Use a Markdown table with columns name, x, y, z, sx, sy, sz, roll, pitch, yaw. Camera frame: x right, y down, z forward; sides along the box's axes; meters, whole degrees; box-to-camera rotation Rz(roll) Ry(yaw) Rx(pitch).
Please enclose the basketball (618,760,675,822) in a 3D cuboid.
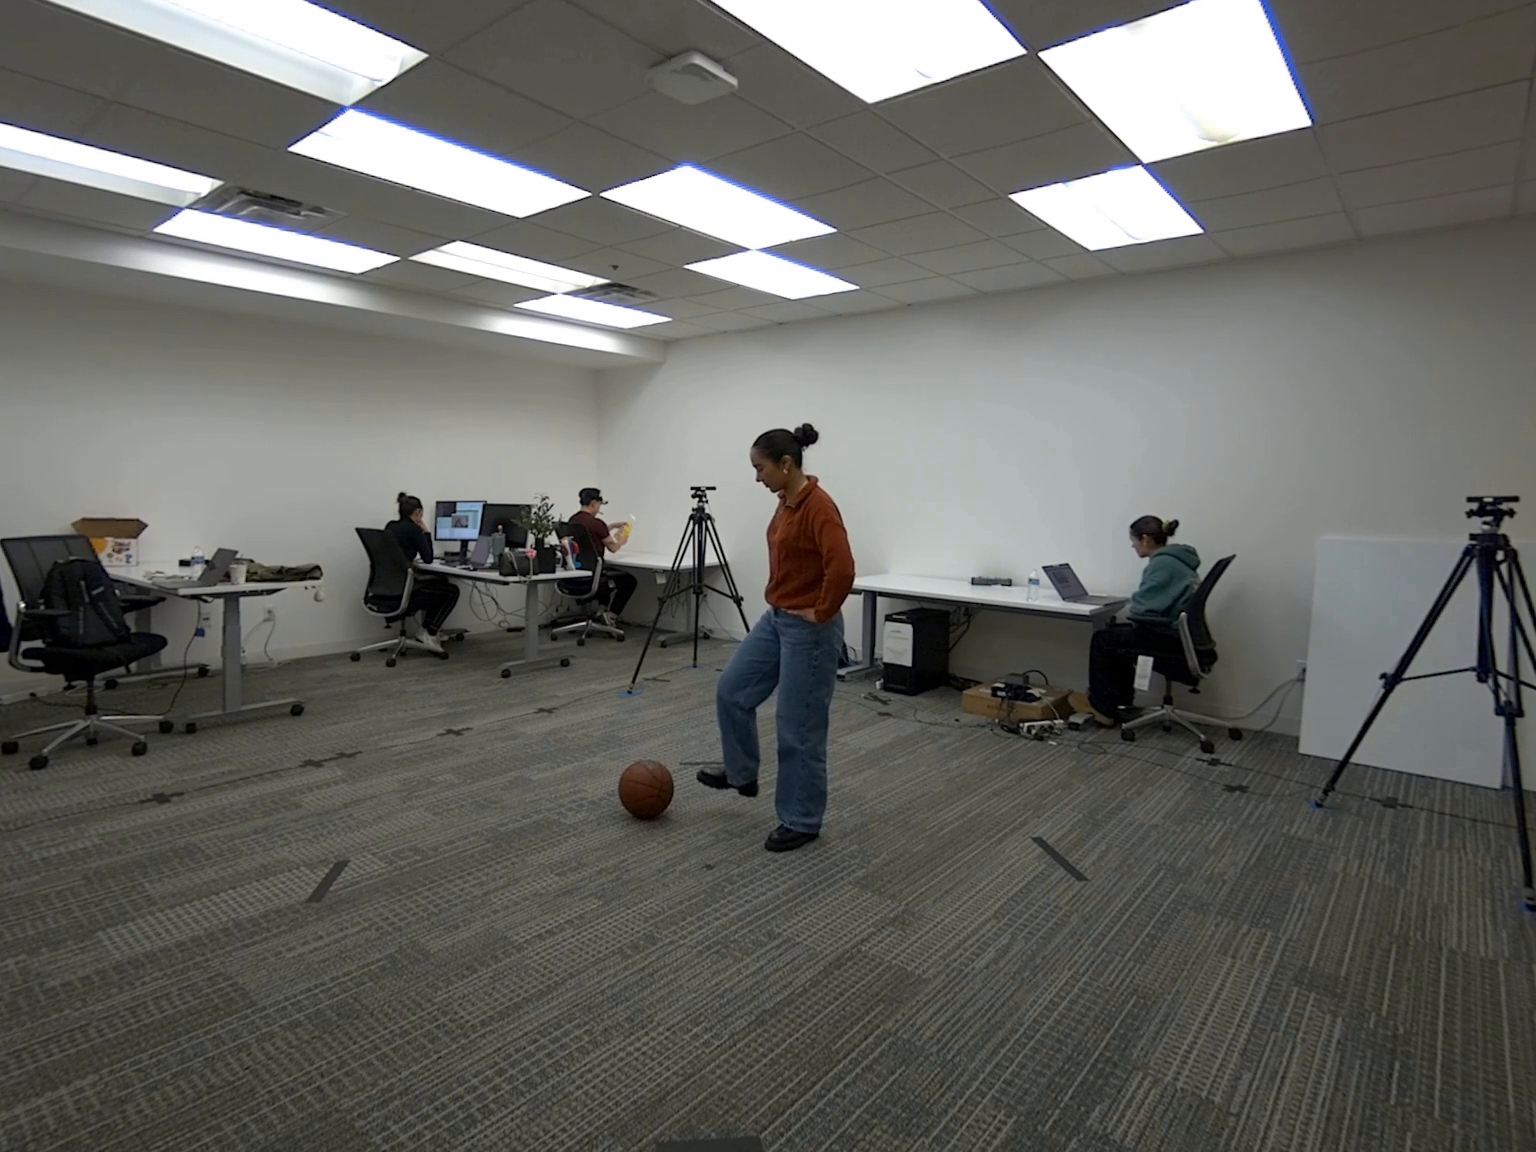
| name | x | y | z | sx | sy | sz | roll | pitch | yaw |
| --- | --- | --- | --- | --- | --- | --- | --- | --- | --- |
| basketball | -0.534 | 0.896 | 3.595 | 0.235 | 0.235 | 0.237 | 1 | 4 | -2 |
